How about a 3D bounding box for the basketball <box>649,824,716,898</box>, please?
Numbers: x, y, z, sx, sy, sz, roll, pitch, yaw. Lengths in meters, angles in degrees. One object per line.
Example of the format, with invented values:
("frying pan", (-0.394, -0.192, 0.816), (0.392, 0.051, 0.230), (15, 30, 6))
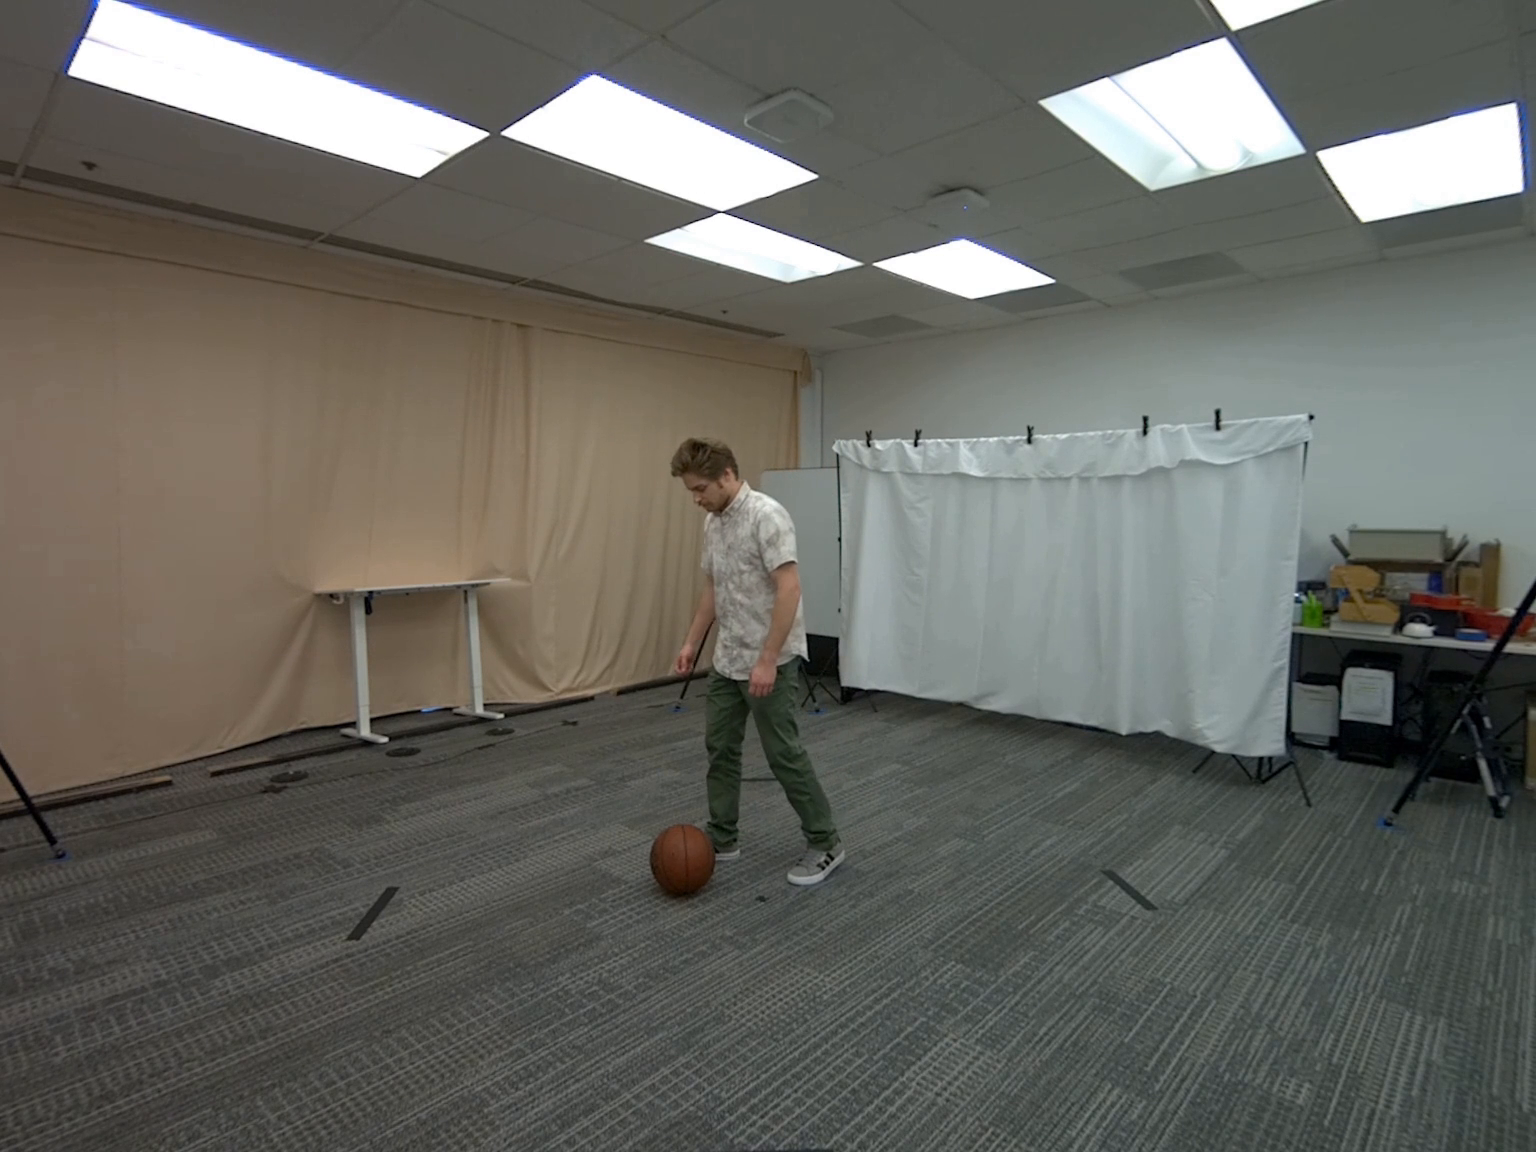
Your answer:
("basketball", (-0.304, 1.013, 3.038), (0.236, 0.235, 0.237), (0, 4, -2))
